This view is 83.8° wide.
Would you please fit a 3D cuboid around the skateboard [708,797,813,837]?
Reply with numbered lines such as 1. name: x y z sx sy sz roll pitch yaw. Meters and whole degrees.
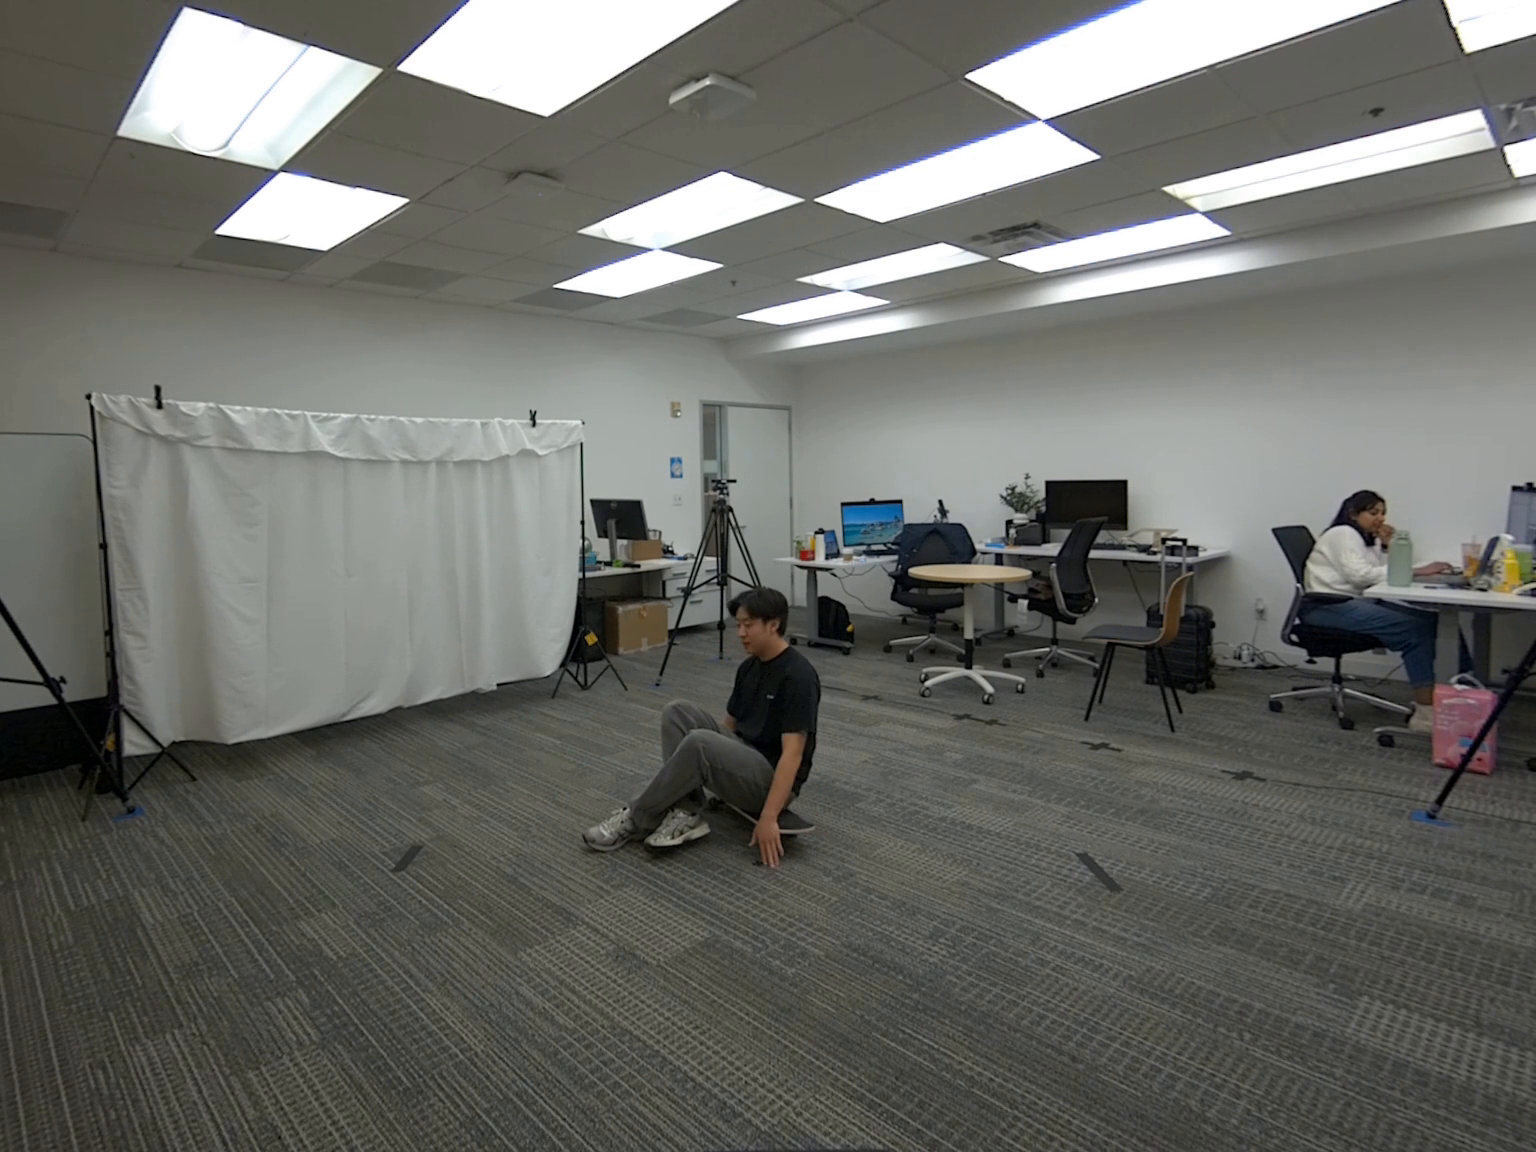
1. skateboard: -0.067 0.948 3.481 0.188 0.110 0.807 4 3 -29
